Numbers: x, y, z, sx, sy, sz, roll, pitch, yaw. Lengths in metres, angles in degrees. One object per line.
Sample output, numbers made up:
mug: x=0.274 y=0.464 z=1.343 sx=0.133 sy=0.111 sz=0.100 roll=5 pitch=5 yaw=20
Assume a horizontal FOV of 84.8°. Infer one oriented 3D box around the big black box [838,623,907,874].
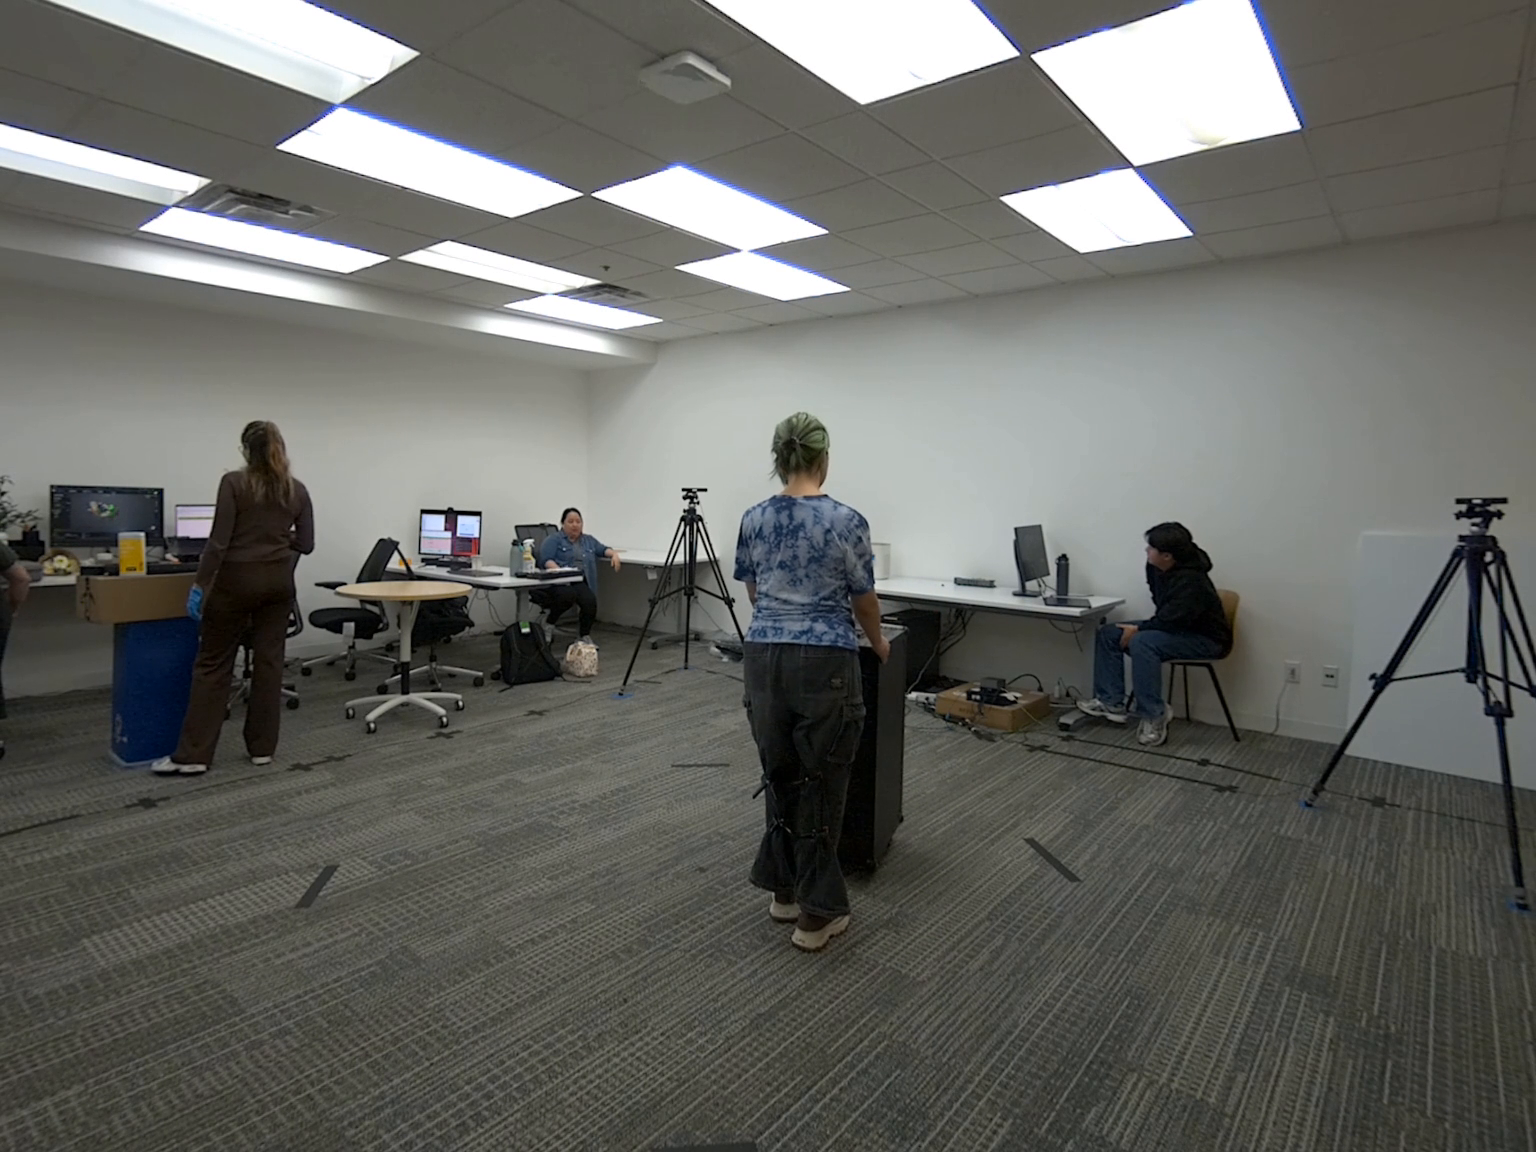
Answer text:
big black box: x=0.279 y=0.644 z=3.253 sx=0.406 sy=0.858 sz=0.511 roll=2 pitch=4 yaw=22
